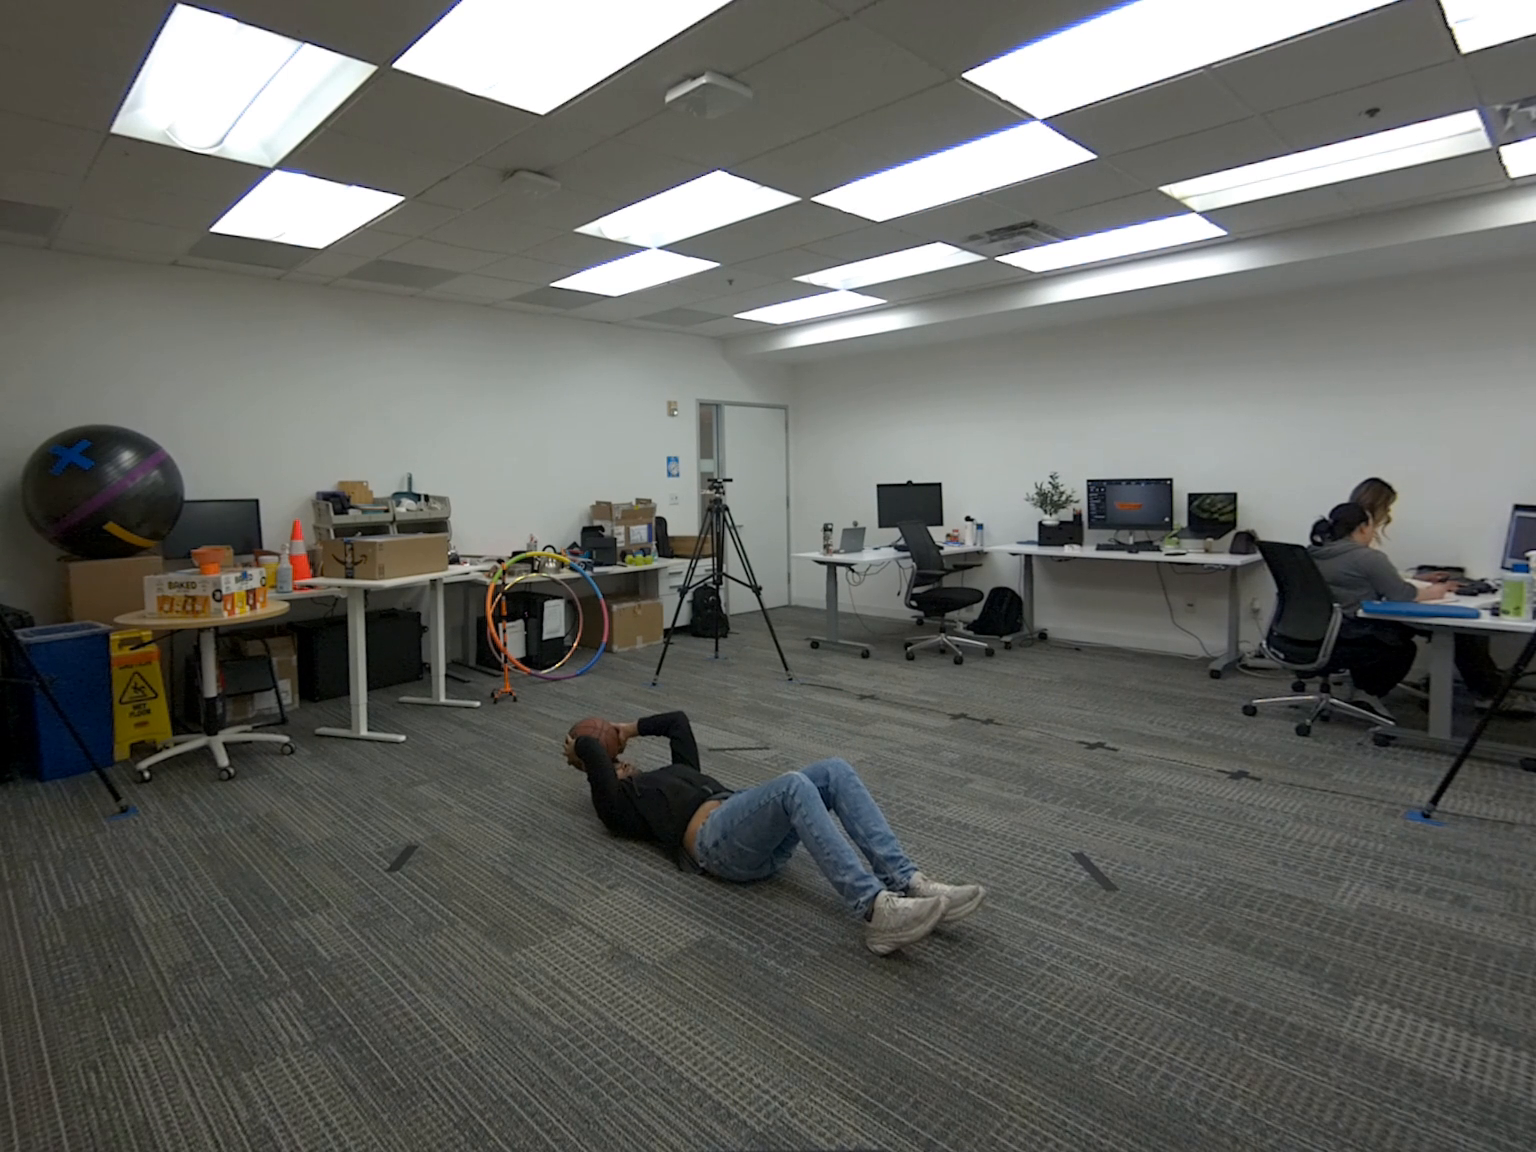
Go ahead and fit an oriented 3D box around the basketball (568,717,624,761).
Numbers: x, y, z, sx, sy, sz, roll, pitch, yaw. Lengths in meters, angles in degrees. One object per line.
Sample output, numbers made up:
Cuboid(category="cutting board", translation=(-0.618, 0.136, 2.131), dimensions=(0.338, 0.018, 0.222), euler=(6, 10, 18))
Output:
Cuboid(category="basketball", translation=(-0.775, 0.742, 3.769), dimensions=(0.236, 0.235, 0.237), euler=(-1, 5, -2))
